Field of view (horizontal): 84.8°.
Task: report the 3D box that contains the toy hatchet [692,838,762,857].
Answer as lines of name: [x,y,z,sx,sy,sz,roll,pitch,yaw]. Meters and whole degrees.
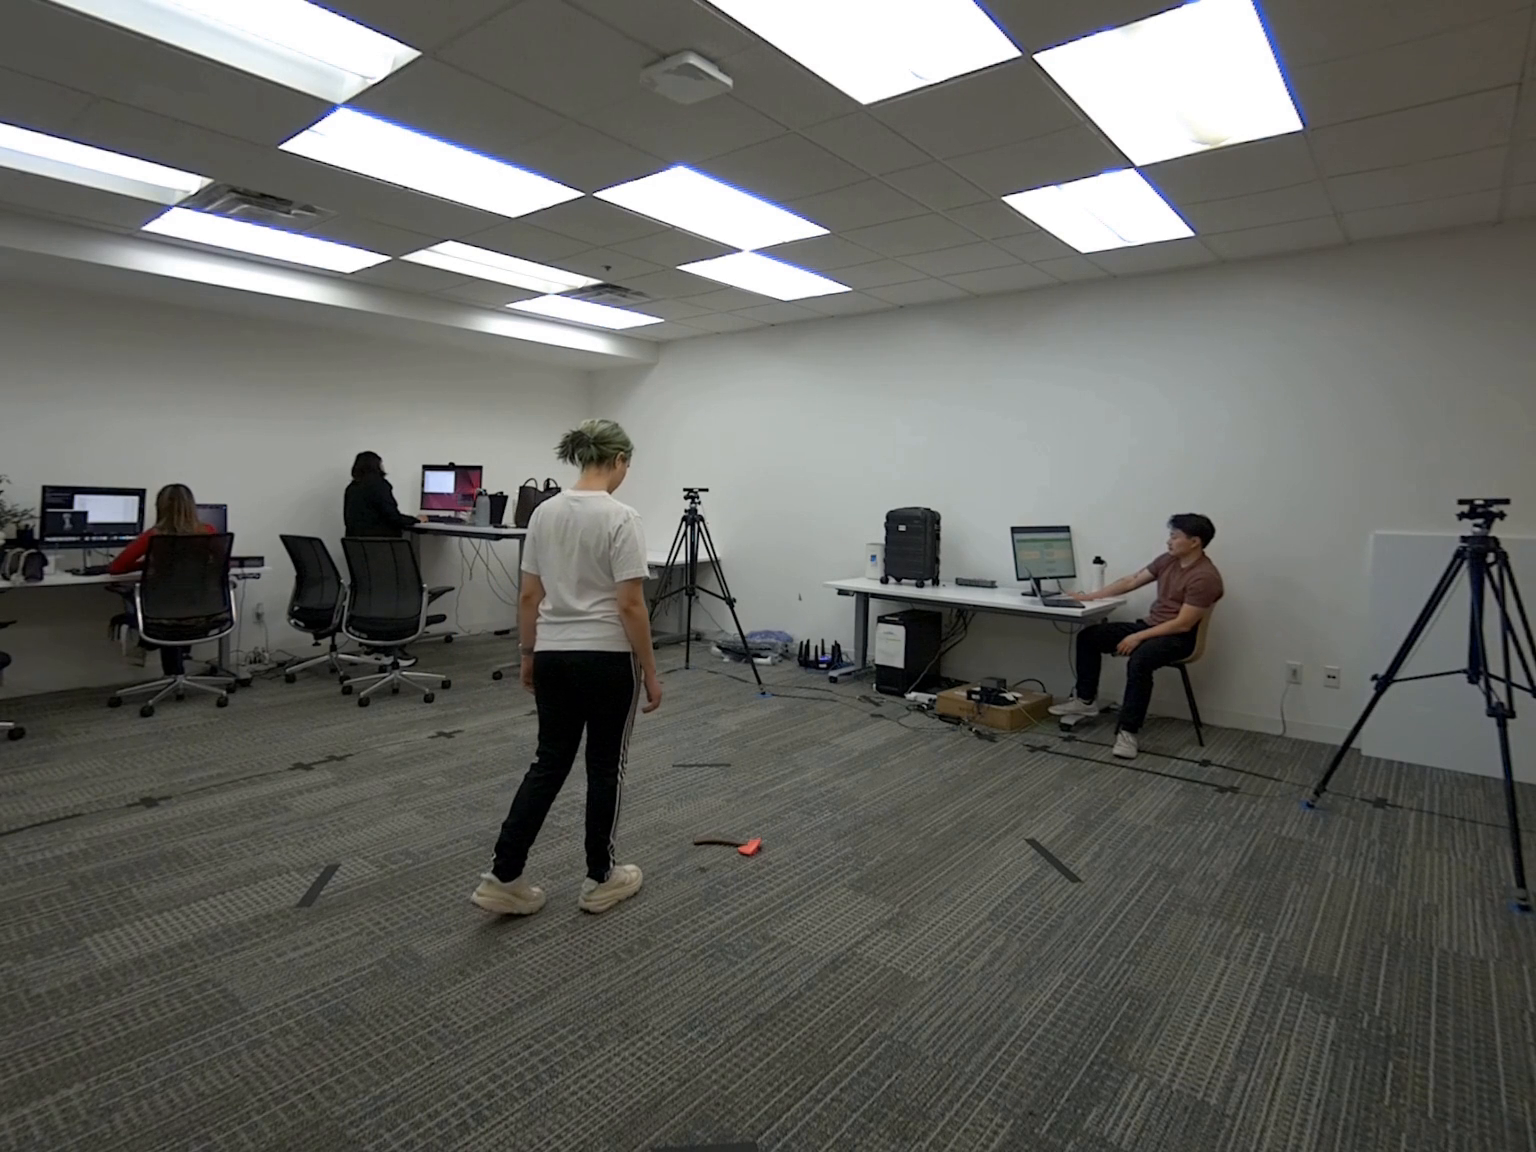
toy hatchet: [-0.168,1.045,3.284,0.270,0.029,0.132,-2,11,1]
